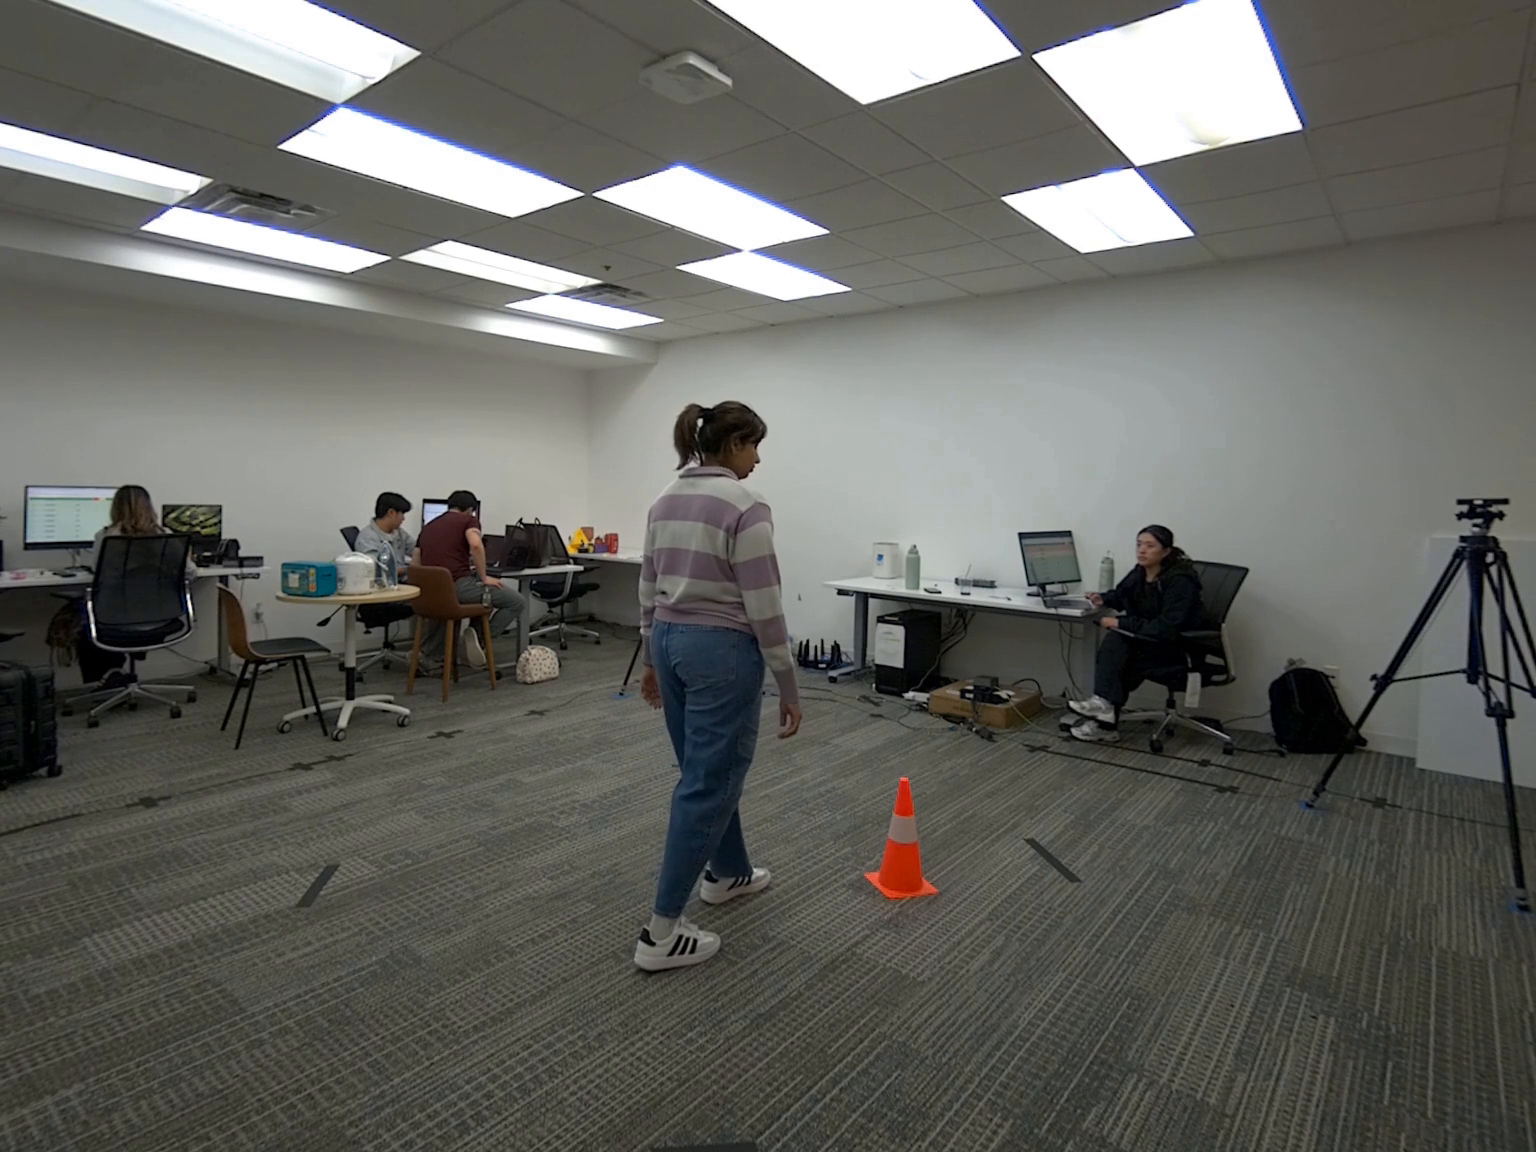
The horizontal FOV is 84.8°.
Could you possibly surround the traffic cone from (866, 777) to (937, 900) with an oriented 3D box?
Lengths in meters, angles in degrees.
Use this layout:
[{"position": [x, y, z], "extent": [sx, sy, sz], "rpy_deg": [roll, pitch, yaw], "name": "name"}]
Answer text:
[{"position": [0.473, 0.908, 3.021], "extent": [0.199, 0.382, 0.210], "rpy_deg": [-1, 6, -19], "name": "traffic cone"}]
